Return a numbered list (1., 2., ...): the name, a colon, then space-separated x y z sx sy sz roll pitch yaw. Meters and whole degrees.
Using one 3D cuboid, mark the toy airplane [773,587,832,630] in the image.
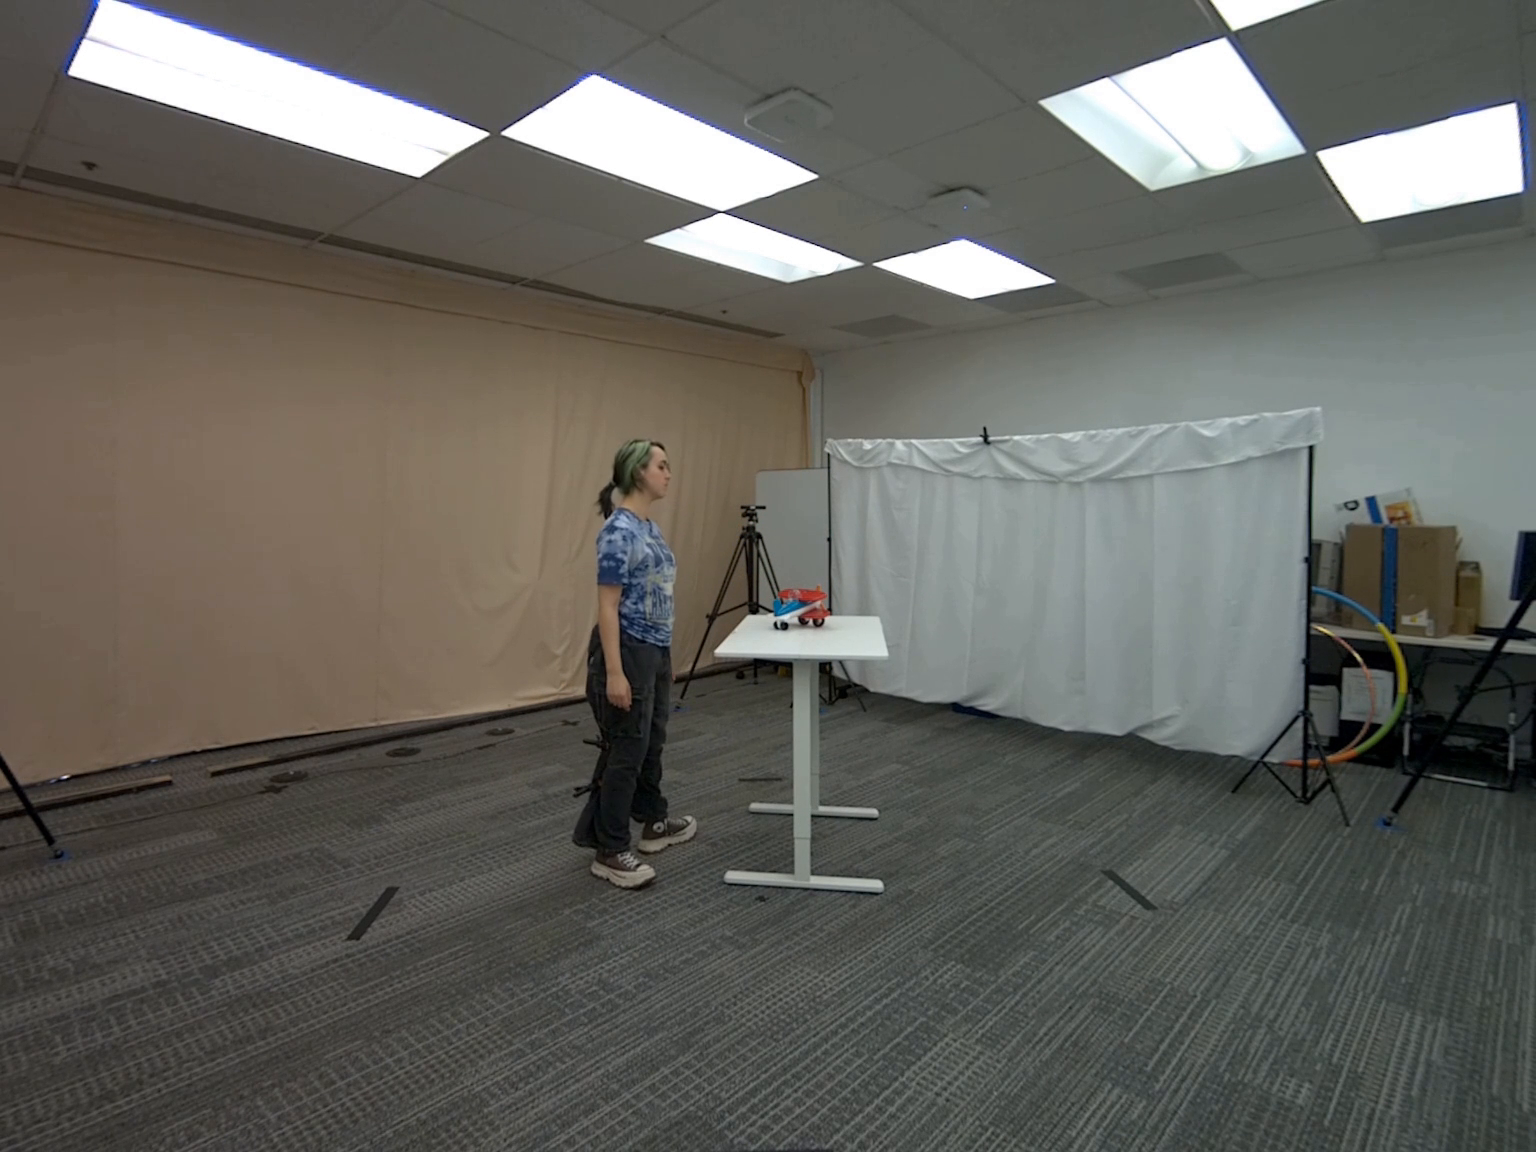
1. toy airplane: 0.139 0.141 3.510 0.257 0.156 0.254 0 4 20
